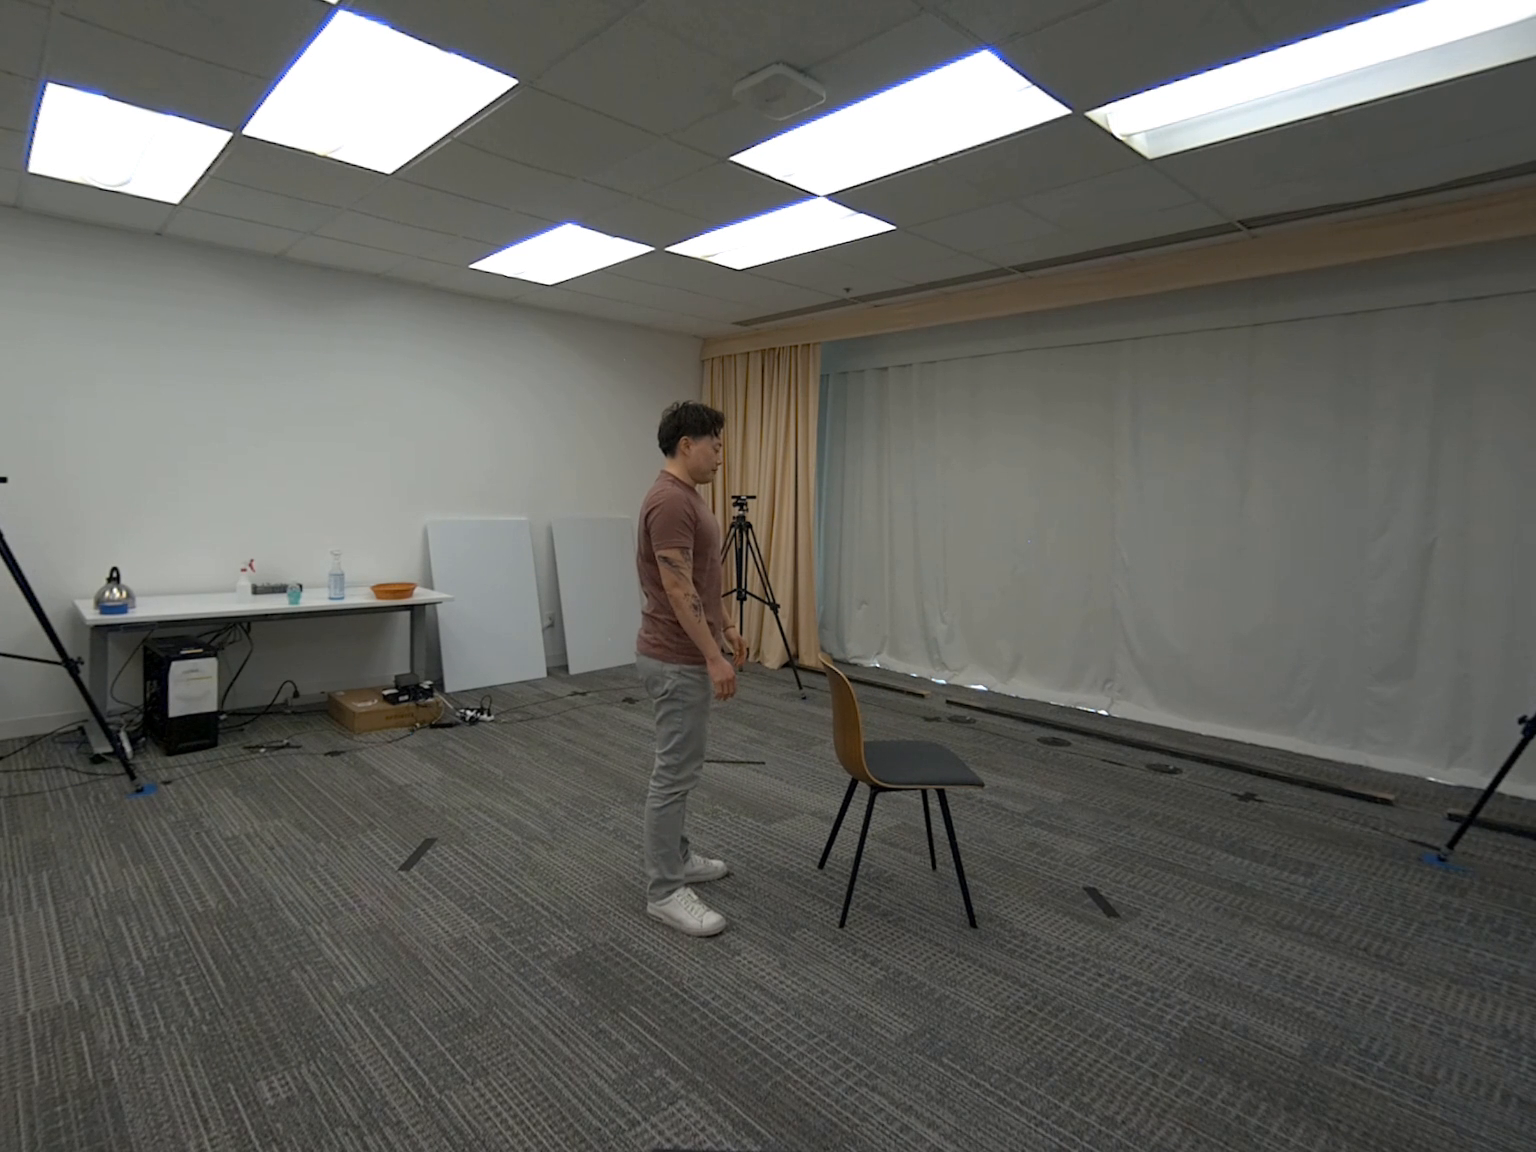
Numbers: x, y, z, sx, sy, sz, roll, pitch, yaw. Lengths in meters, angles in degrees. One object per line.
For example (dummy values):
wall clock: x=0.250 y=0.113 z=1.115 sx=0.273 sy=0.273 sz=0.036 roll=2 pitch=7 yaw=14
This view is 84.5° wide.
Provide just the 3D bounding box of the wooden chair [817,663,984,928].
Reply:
wooden chair: x=0.448 y=0.702 z=2.936 sx=0.521 sy=0.875 sz=0.480 roll=-3 pitch=3 yaw=-4
